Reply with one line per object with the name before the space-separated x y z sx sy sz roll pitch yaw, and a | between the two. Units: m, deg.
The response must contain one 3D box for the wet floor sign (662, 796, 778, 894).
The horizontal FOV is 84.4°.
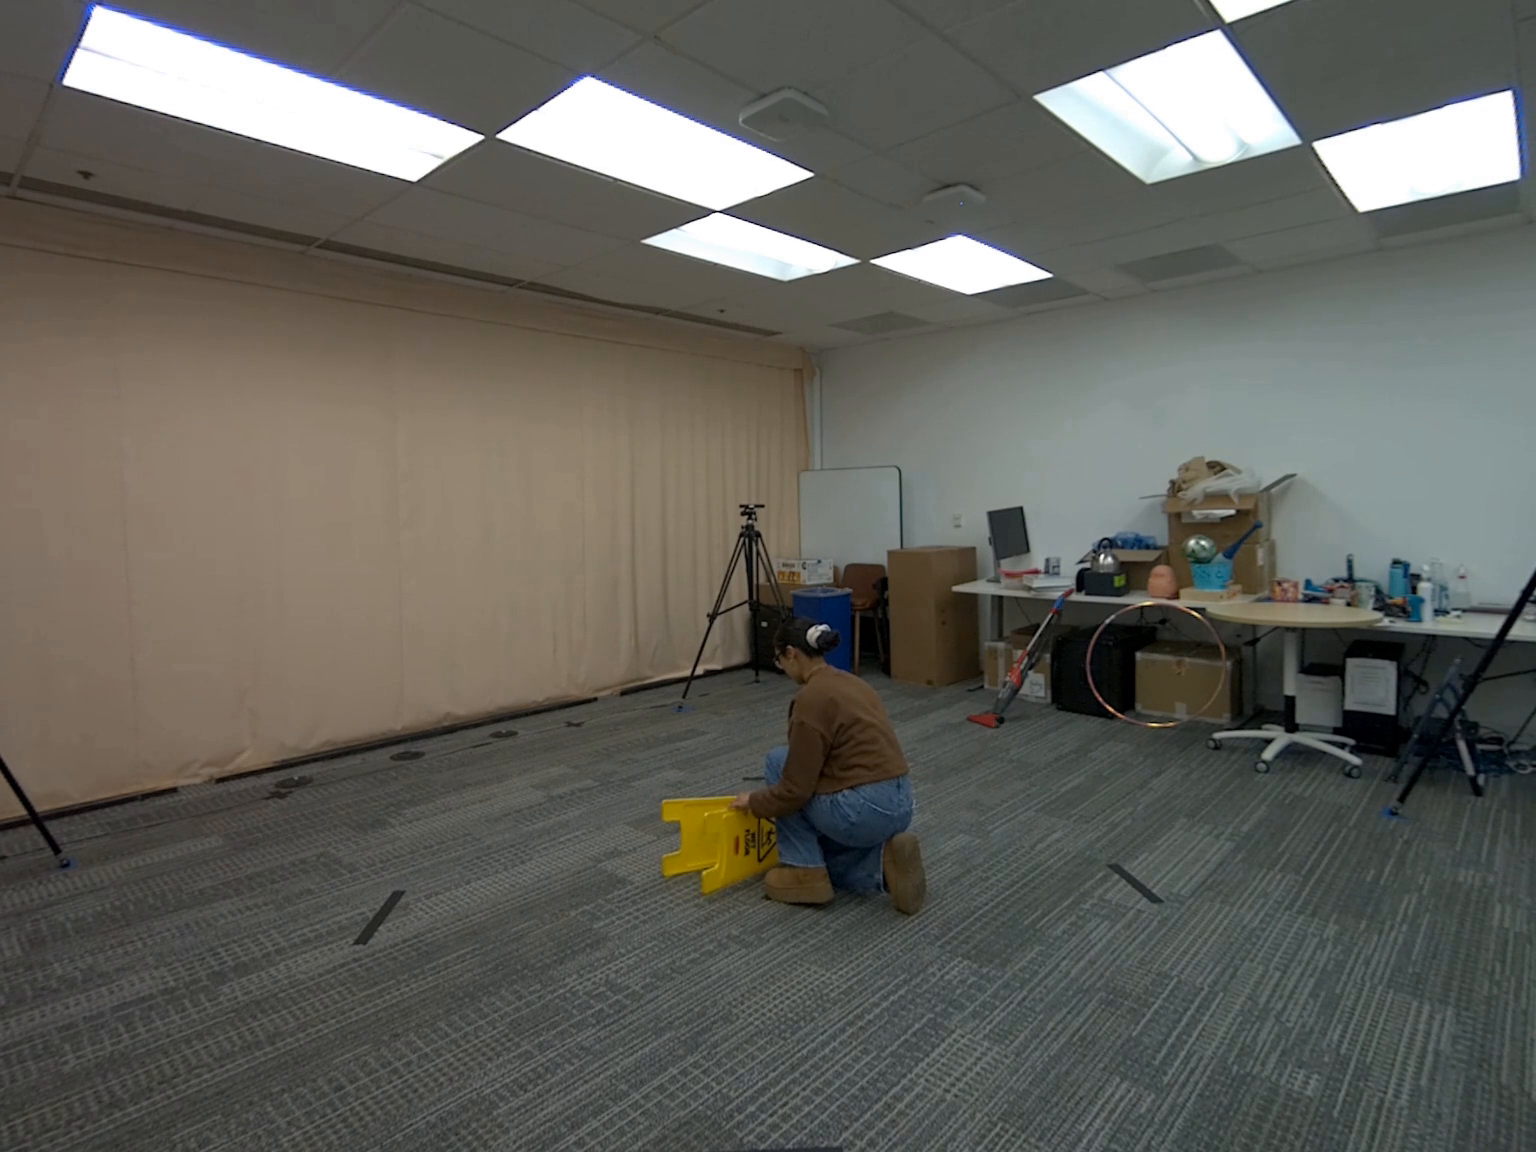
wet floor sign | -0.057 0.989 3.241 0.626 0.283 0.298 1 -4 -35
